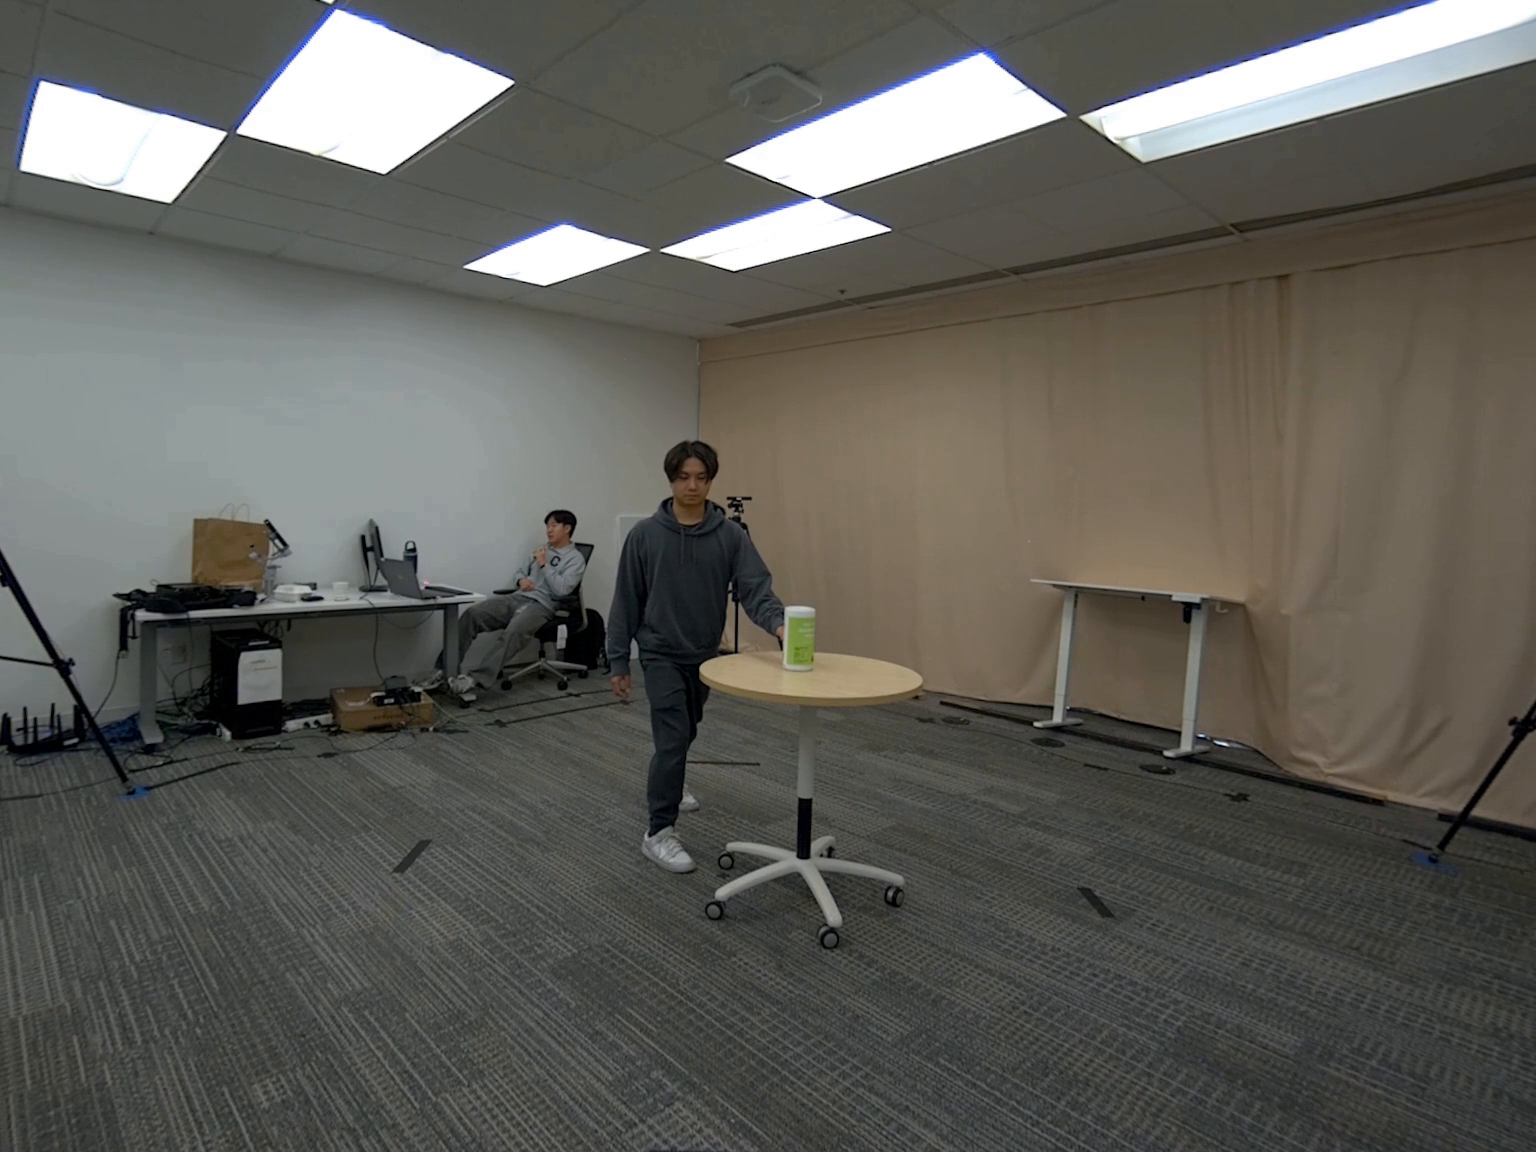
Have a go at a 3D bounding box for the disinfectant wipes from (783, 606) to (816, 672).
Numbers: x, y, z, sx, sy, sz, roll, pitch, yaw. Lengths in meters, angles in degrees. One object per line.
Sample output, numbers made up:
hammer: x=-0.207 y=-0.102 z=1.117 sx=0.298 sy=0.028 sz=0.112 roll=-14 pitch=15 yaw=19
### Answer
disinfectant wipes: x=0.102 y=0.220 z=2.959 sx=0.118 sy=0.217 sz=0.118 roll=2 pitch=4 yaw=-2
